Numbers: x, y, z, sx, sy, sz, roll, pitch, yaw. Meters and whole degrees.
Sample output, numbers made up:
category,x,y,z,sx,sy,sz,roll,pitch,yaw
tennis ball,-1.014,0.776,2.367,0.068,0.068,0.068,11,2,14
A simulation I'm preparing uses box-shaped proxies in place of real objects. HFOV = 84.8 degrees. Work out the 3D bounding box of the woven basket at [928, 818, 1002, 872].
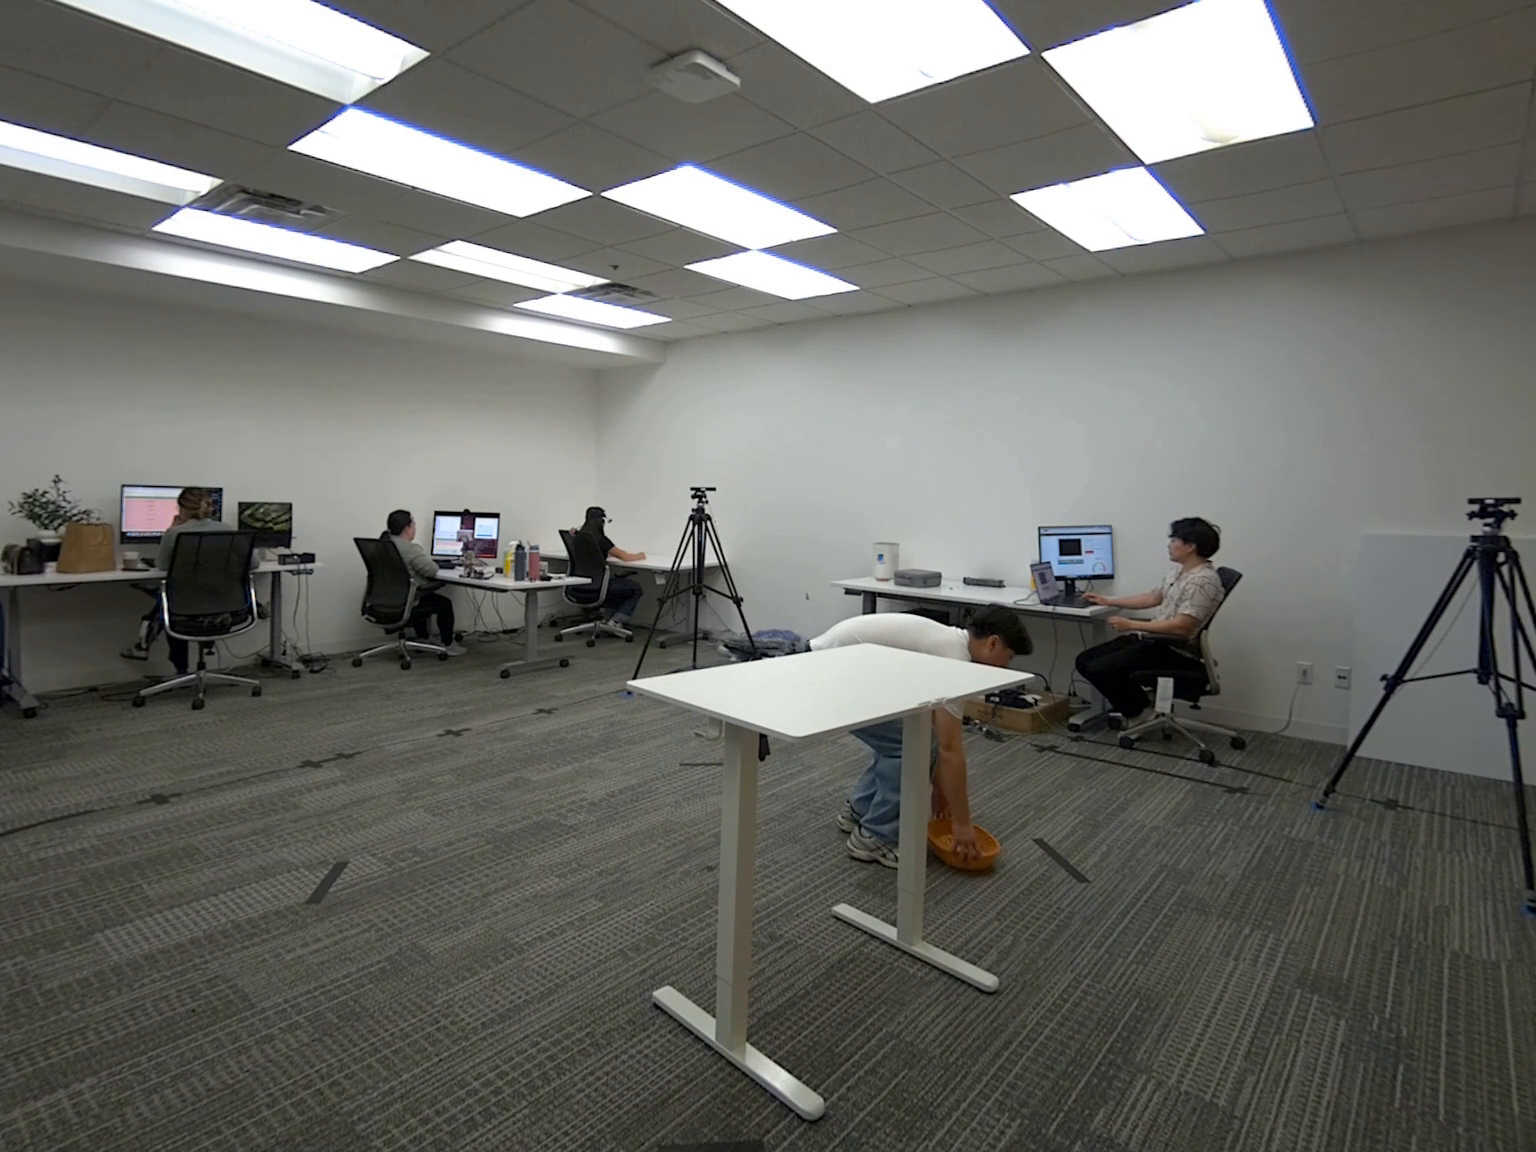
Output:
category,x,y,z,sx,sy,sz,roll,pitch,yaw
woven basket,0.723,1.004,3.255,0.249,0.073,0.356,-1,7,-12
